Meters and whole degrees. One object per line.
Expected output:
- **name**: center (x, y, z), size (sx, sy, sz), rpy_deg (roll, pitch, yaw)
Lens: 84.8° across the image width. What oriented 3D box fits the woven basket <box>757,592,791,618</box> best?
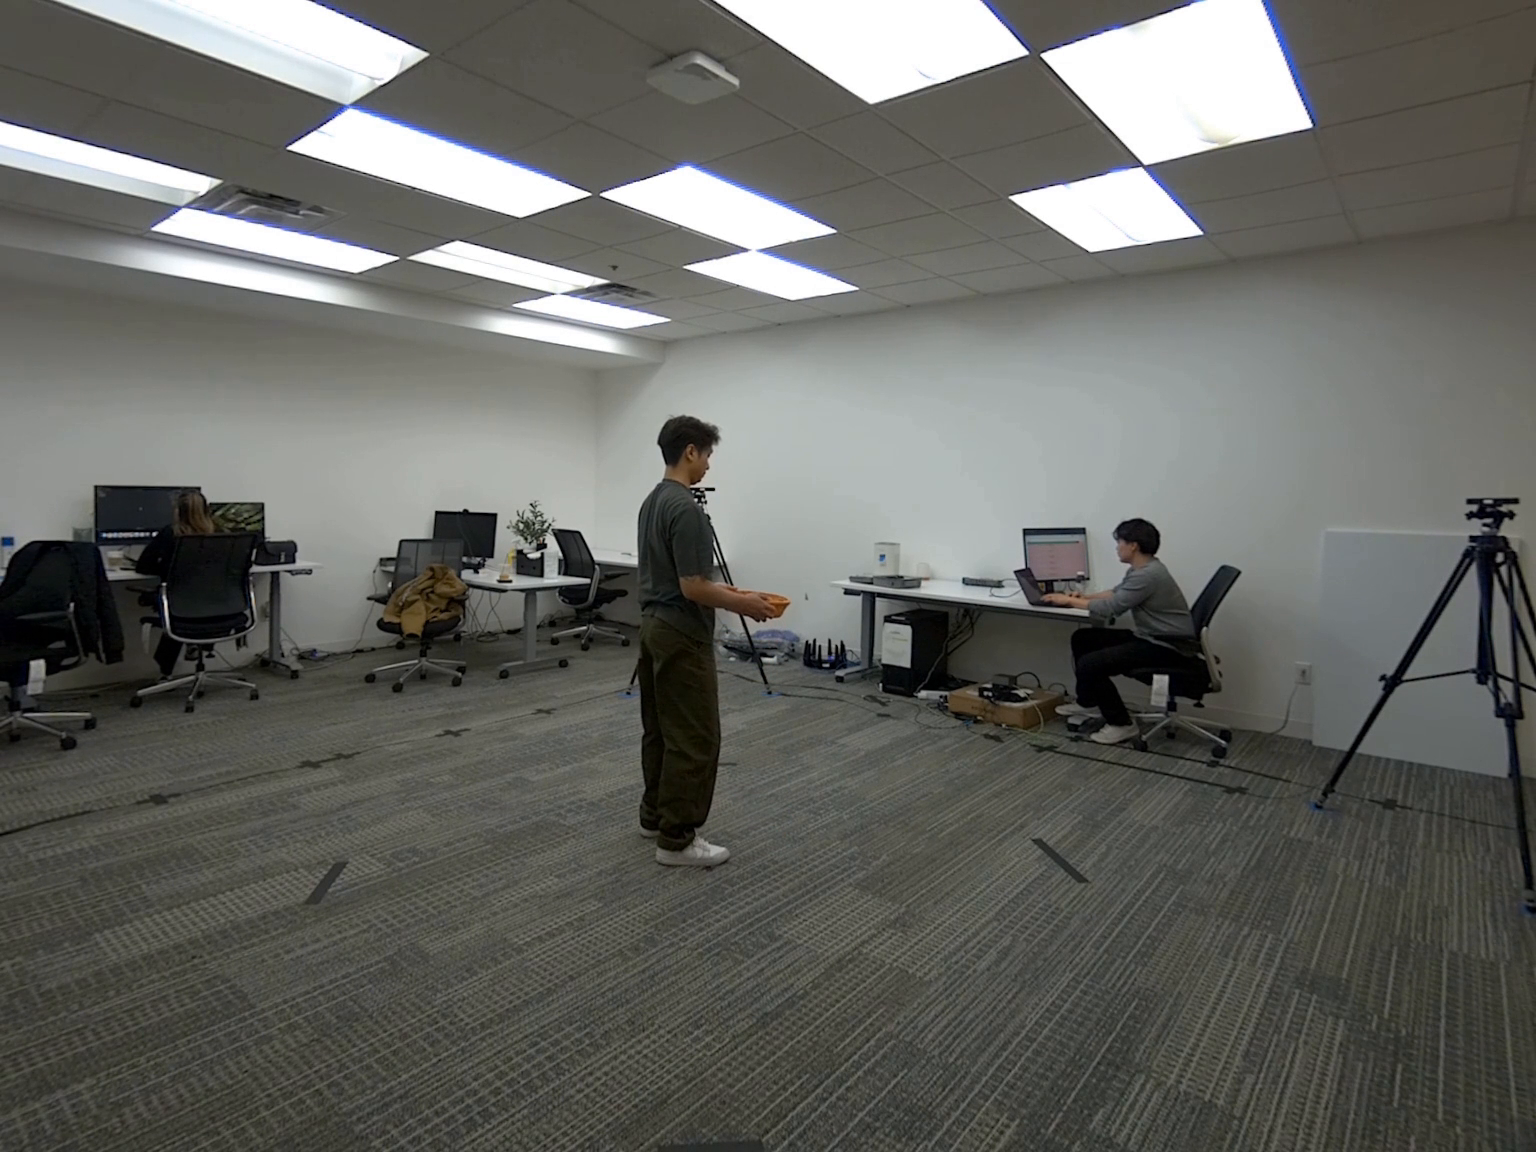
- **woven basket**: center (-0.075, 0.120, 3.382), size (0.246, 0.073, 0.360), rpy_deg (1, 5, -26)
